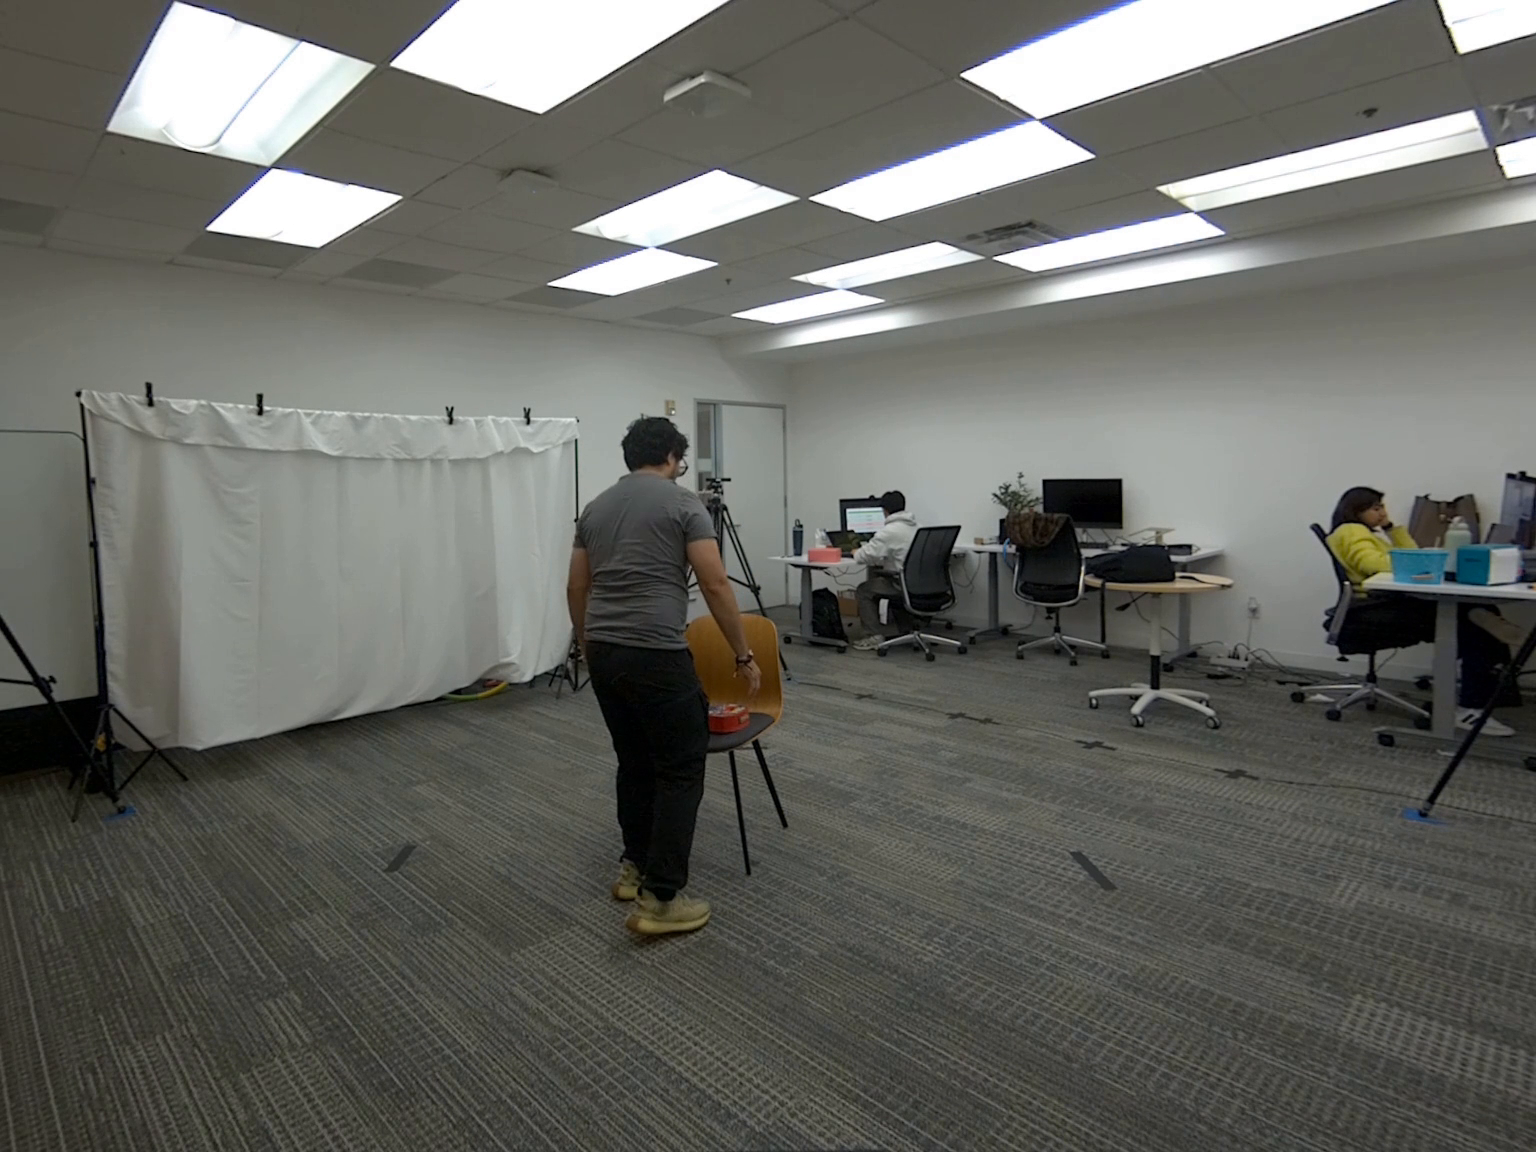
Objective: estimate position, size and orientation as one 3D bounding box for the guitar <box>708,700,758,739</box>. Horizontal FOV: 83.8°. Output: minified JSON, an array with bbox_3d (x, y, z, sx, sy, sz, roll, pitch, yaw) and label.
[{"bbox_3d":[-0.306,0.519,3.240,0.511,0.070,0.188,2,6,33],"label":"guitar"}]
